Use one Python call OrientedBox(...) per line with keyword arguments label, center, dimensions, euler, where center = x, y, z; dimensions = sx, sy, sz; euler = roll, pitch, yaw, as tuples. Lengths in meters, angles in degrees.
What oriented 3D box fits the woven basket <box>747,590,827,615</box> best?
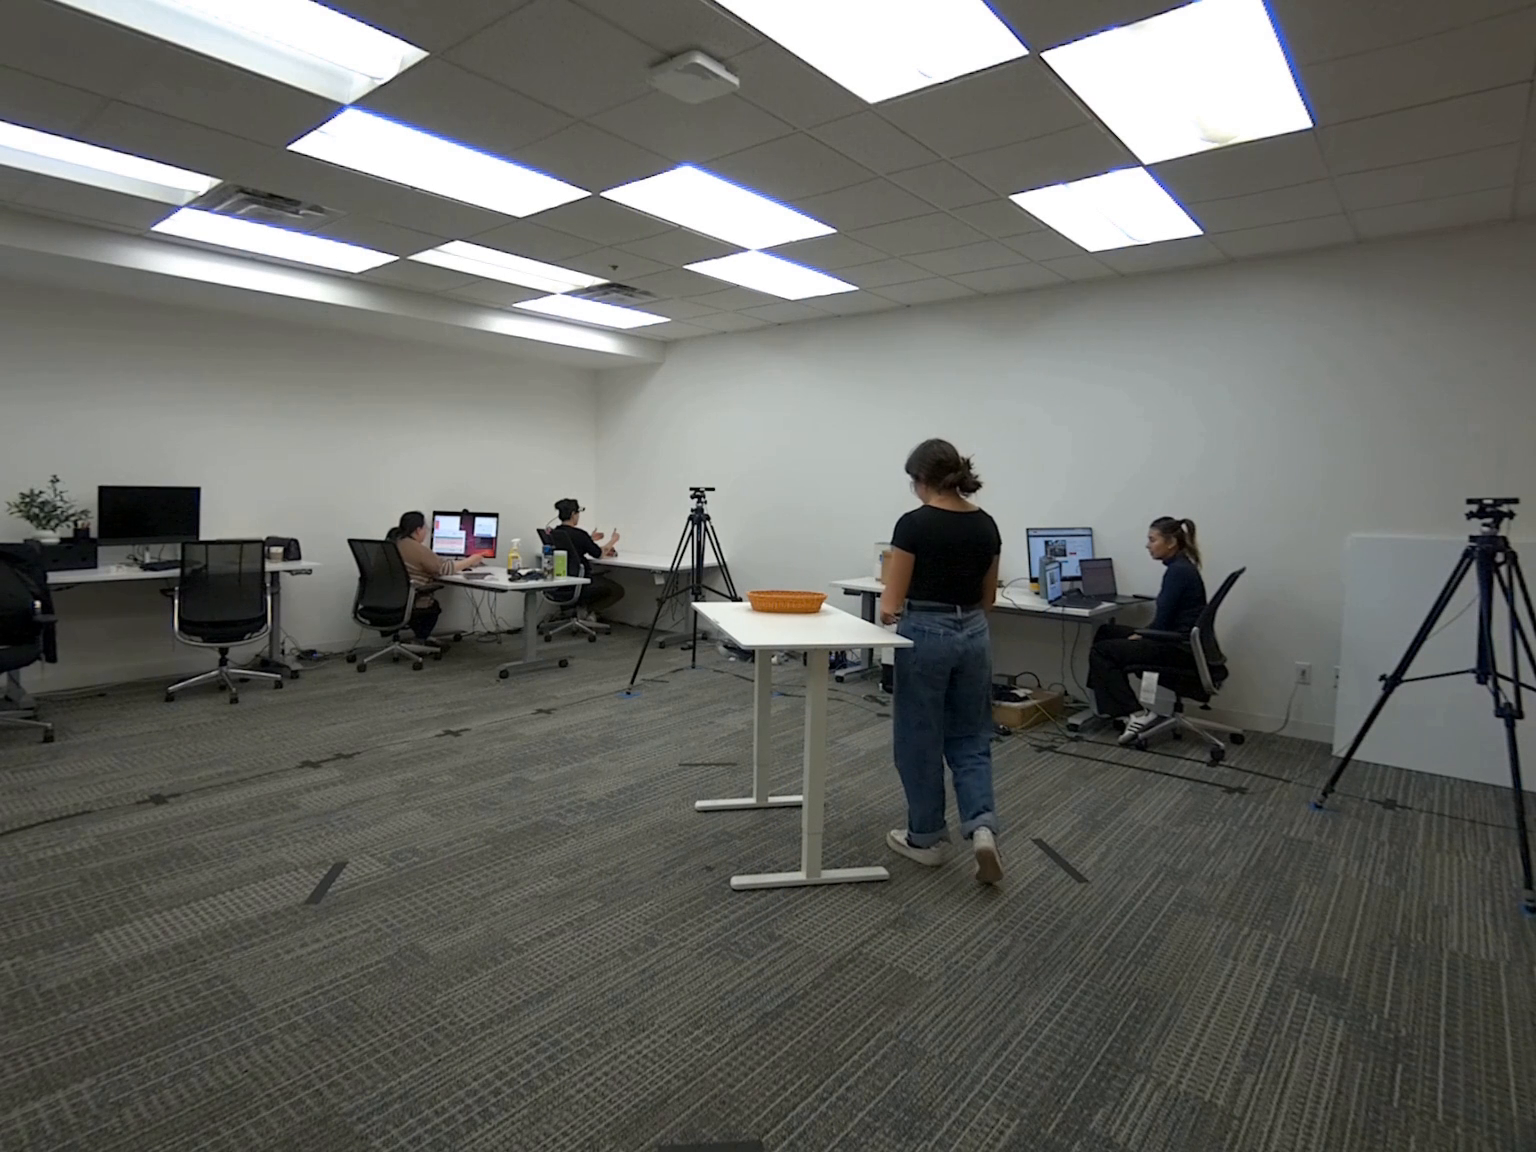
OrientedBox(label="woven basket", center=(0.075, 0.112, 3.593), dimensions=(0.352, 0.073, 0.252), euler=(2, 5, 5))
